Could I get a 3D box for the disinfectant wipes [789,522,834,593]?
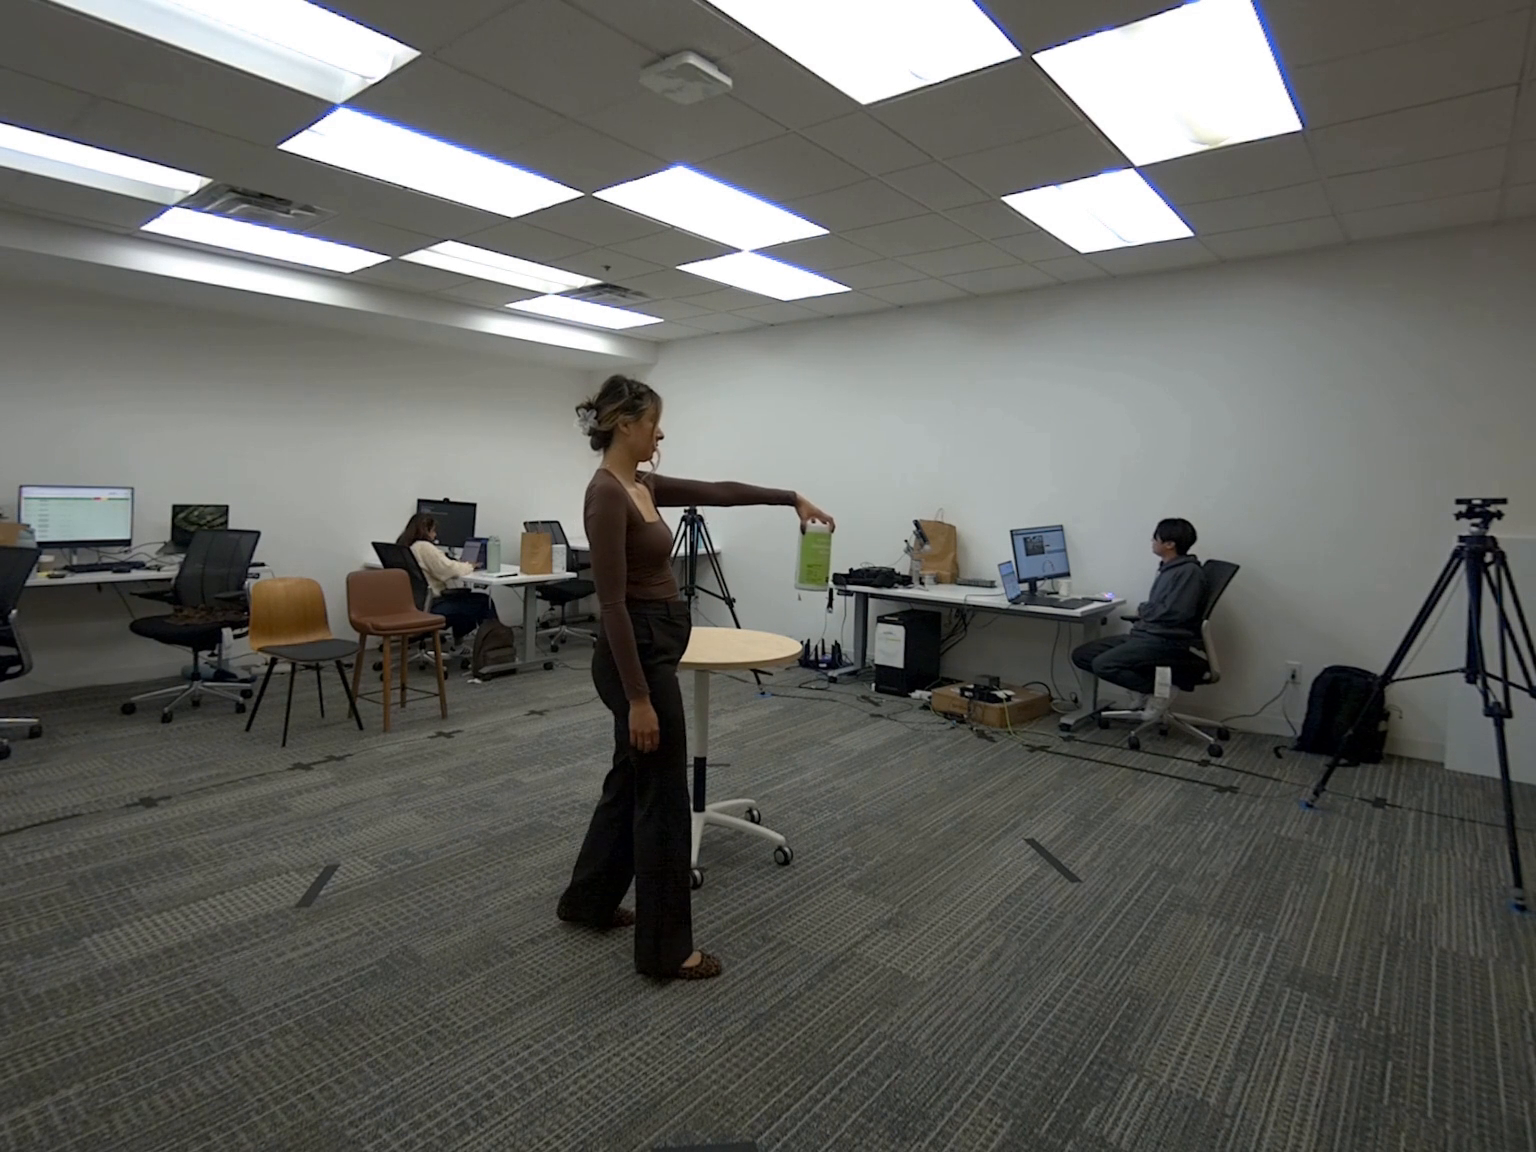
[{"bbox_3d":[0.139,-0.063,2.752,0.118,0.218,0.117,3,-2,-2],"label":"disinfectant wipes"}]
